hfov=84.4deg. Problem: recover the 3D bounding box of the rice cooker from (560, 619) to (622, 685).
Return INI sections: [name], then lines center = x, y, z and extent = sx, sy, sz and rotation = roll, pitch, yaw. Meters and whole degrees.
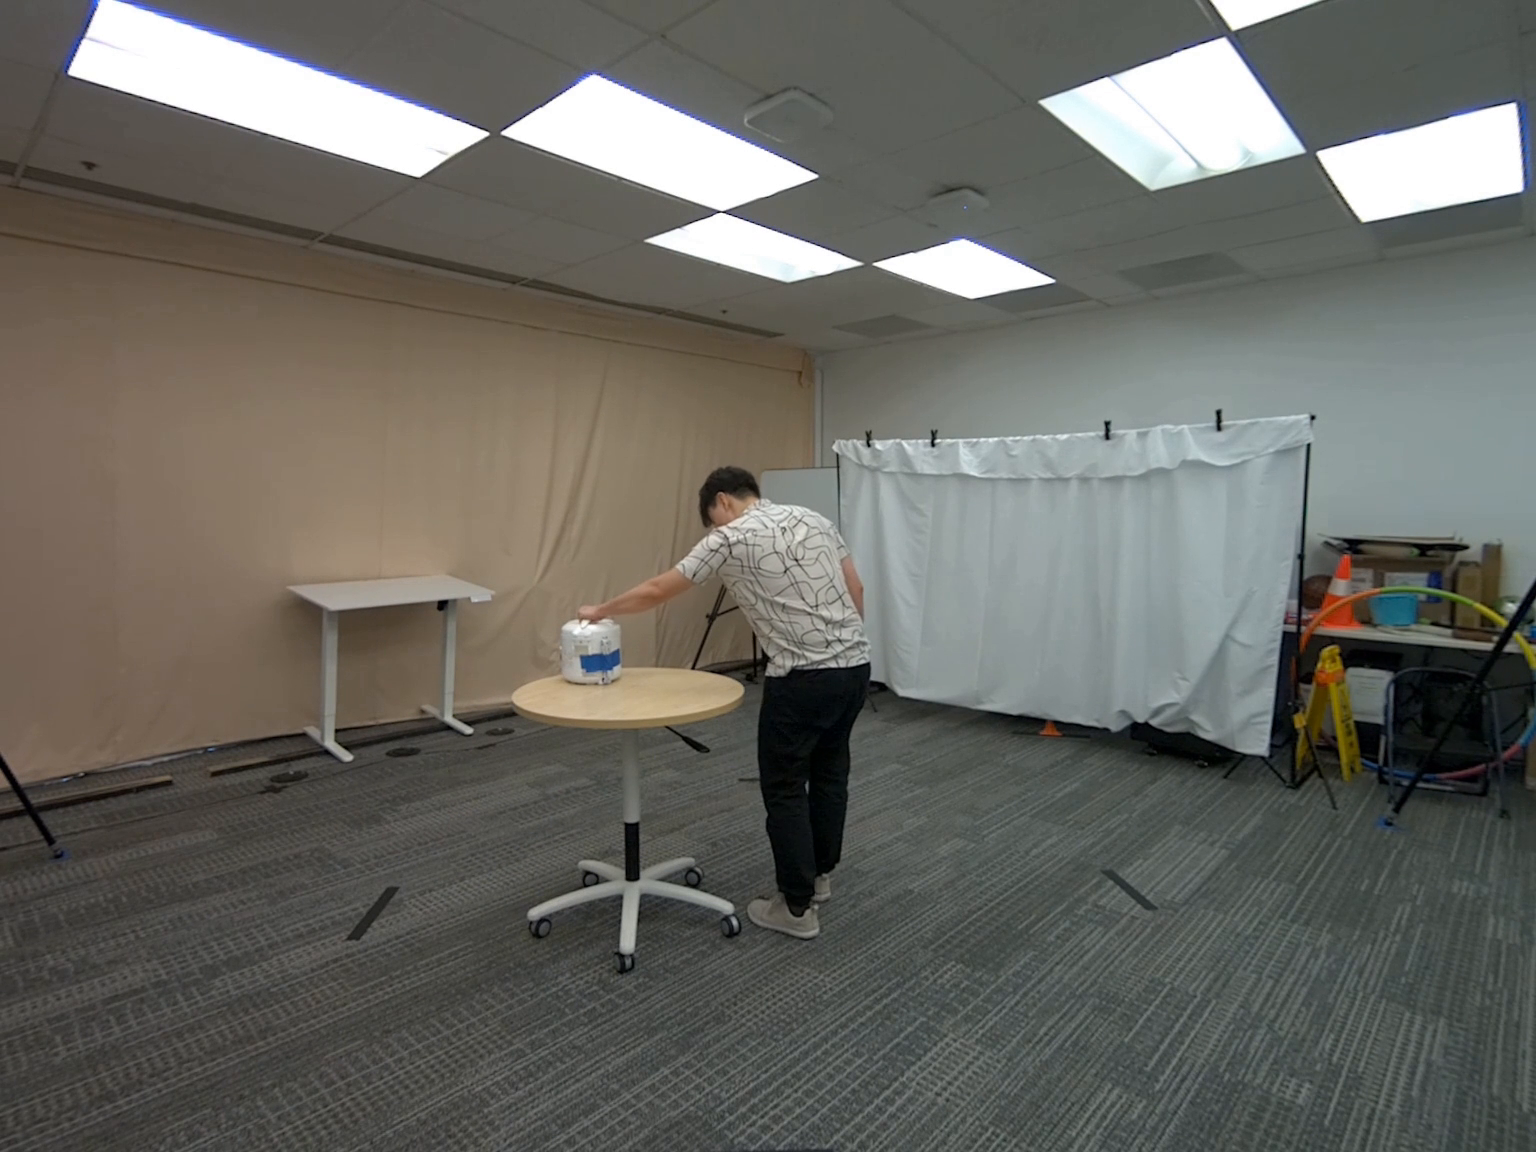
[rice cooker]
center = -0.622, 0.255, 2.961
extent = 0.220, 0.232, 0.218
rotation = 1, 3, 9
